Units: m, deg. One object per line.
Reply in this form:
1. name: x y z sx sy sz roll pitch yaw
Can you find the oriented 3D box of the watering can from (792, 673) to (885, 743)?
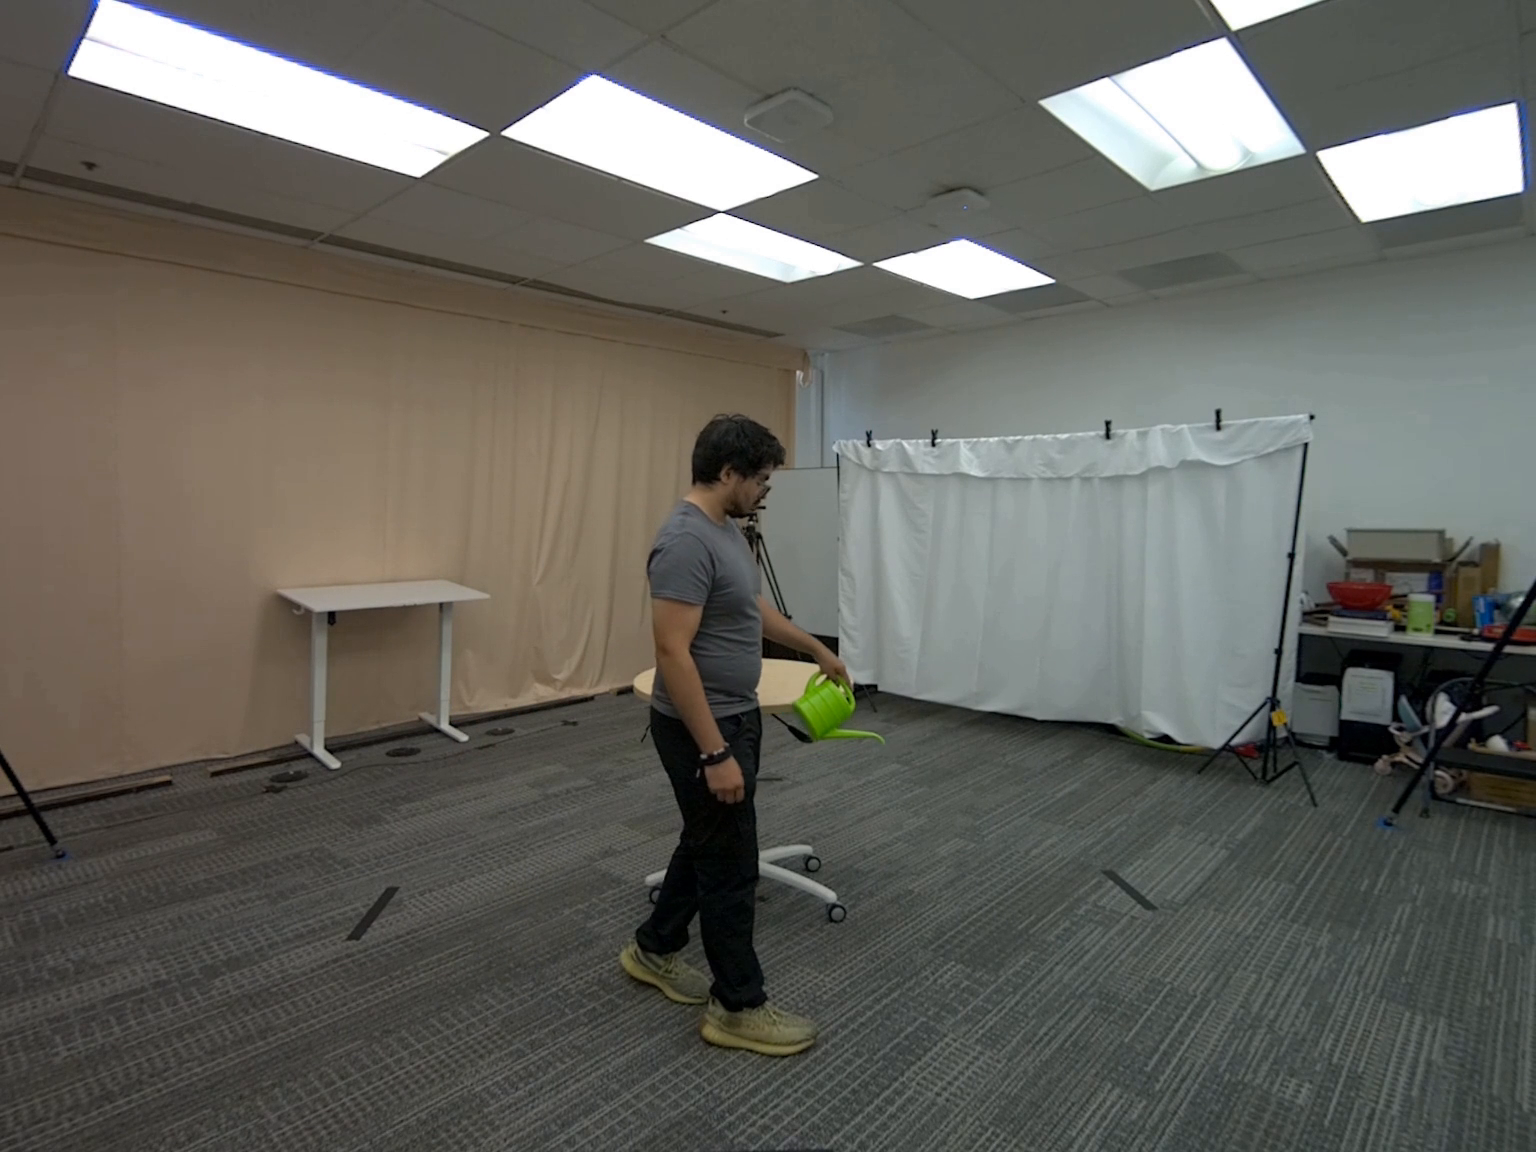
1. watering can: 0.201 0.414 2.455 0.175 0.285 0.096 -31 -24 -16
